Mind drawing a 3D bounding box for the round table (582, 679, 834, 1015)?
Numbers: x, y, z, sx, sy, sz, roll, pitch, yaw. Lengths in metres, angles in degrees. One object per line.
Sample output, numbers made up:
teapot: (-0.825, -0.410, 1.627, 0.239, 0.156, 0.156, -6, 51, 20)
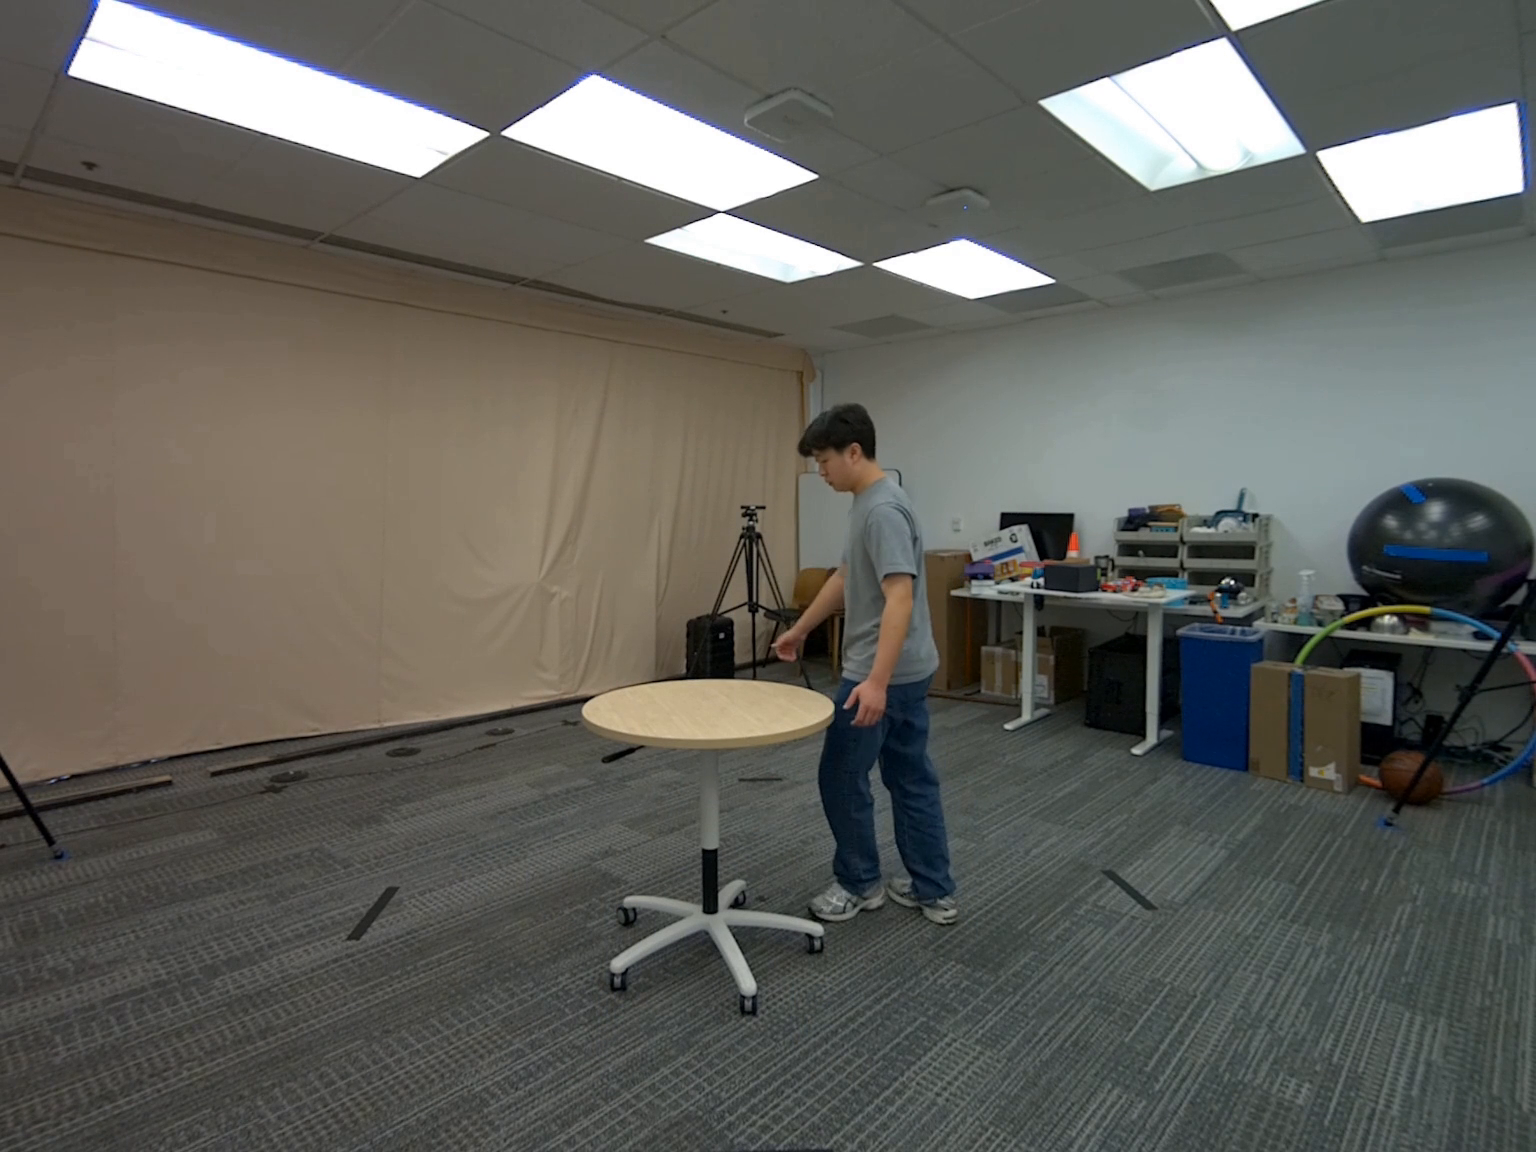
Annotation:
round table: (-0.174, 0.788, 2.587, 0.763, 0.792, 0.767, -1, 4, -2)
